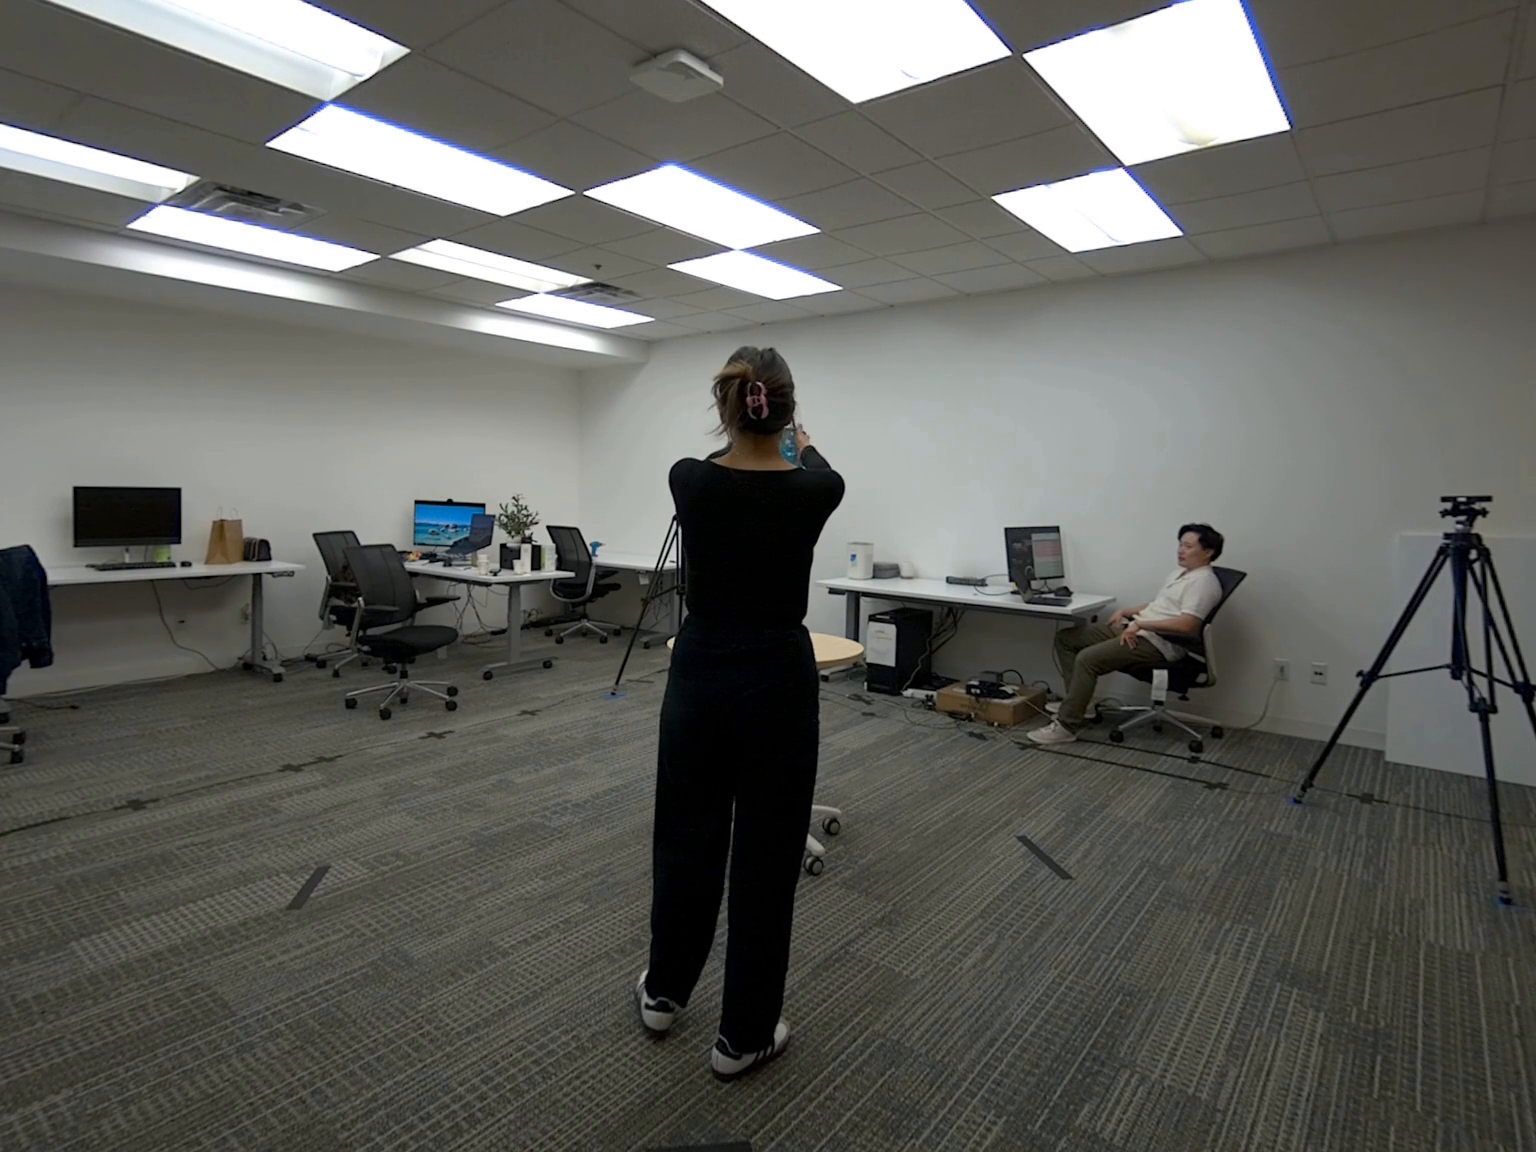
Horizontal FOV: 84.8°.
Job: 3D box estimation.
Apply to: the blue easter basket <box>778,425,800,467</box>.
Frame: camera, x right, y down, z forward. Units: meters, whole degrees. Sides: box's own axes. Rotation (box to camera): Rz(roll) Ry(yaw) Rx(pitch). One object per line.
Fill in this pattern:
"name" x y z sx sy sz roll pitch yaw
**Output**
"blue easter basket" -0.006 -0.361 2.641 0.243 0.157 0.242 -5 -5 -2
